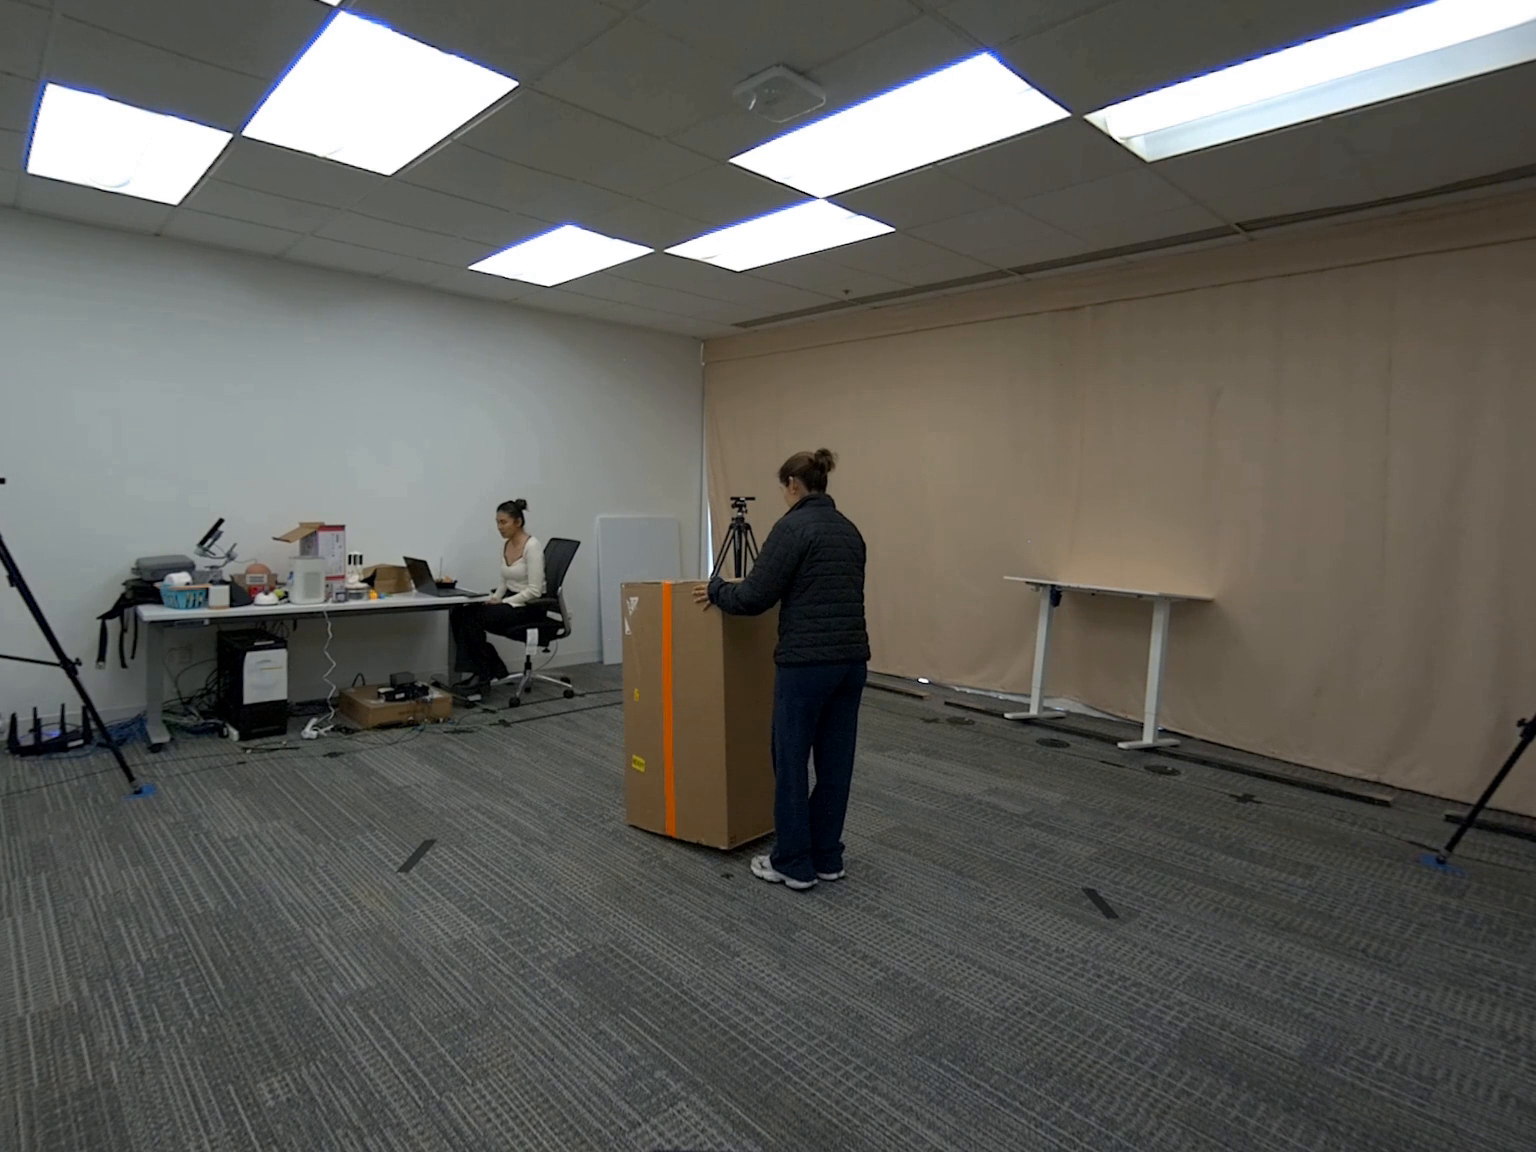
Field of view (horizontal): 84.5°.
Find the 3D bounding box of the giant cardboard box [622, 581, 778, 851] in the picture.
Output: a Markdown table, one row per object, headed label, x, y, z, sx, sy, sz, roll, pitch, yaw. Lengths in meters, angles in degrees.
| label | x | y | z | sx | sy | sz | roll | pitch | yaw |
| --- | --- | --- | --- | --- | --- | --- | --- | --- | --- |
| giant cardboard box | -0.271 | 0.536 | 3.531 | 0.590 | 1.027 | 0.416 | -3 | -2 | 40 |
